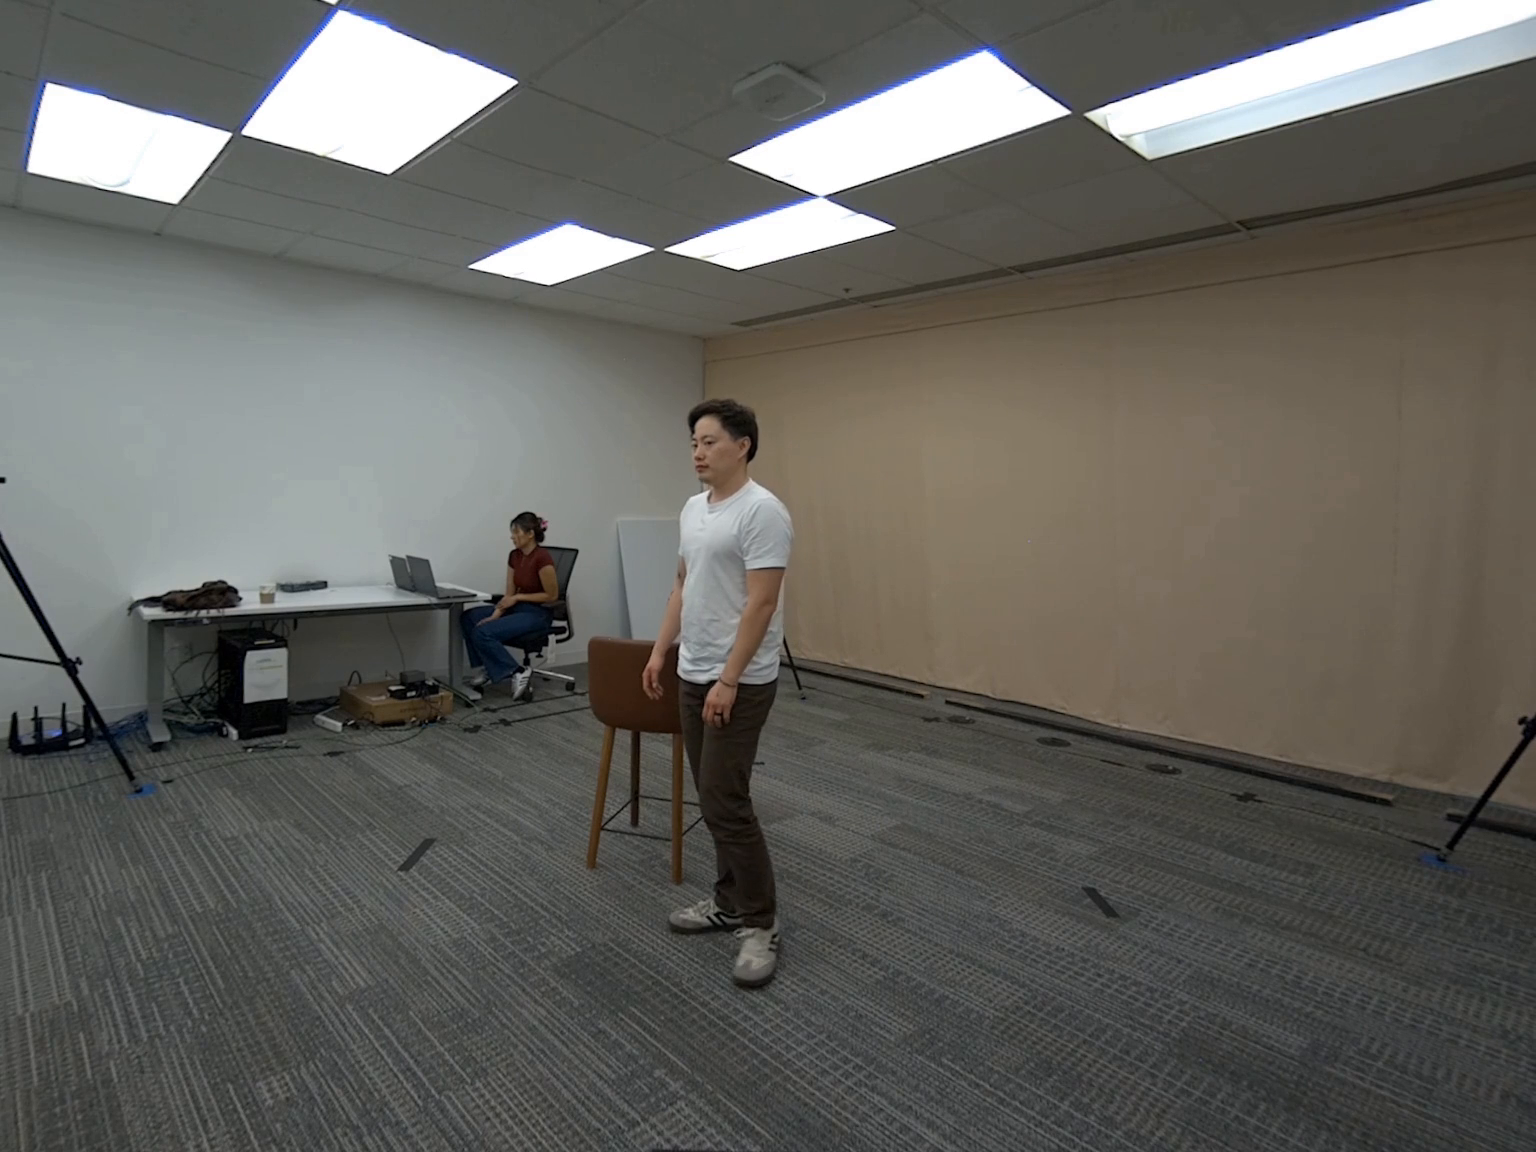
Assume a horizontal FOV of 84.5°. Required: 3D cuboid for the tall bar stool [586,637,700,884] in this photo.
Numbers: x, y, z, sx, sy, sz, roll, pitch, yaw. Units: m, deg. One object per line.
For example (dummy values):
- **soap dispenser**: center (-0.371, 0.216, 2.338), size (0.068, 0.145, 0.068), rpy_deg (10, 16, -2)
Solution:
- **tall bar stool**: center (-0.439, 0.648, 3.253), size (0.463, 0.887, 0.462), rpy_deg (2, 5, 19)
